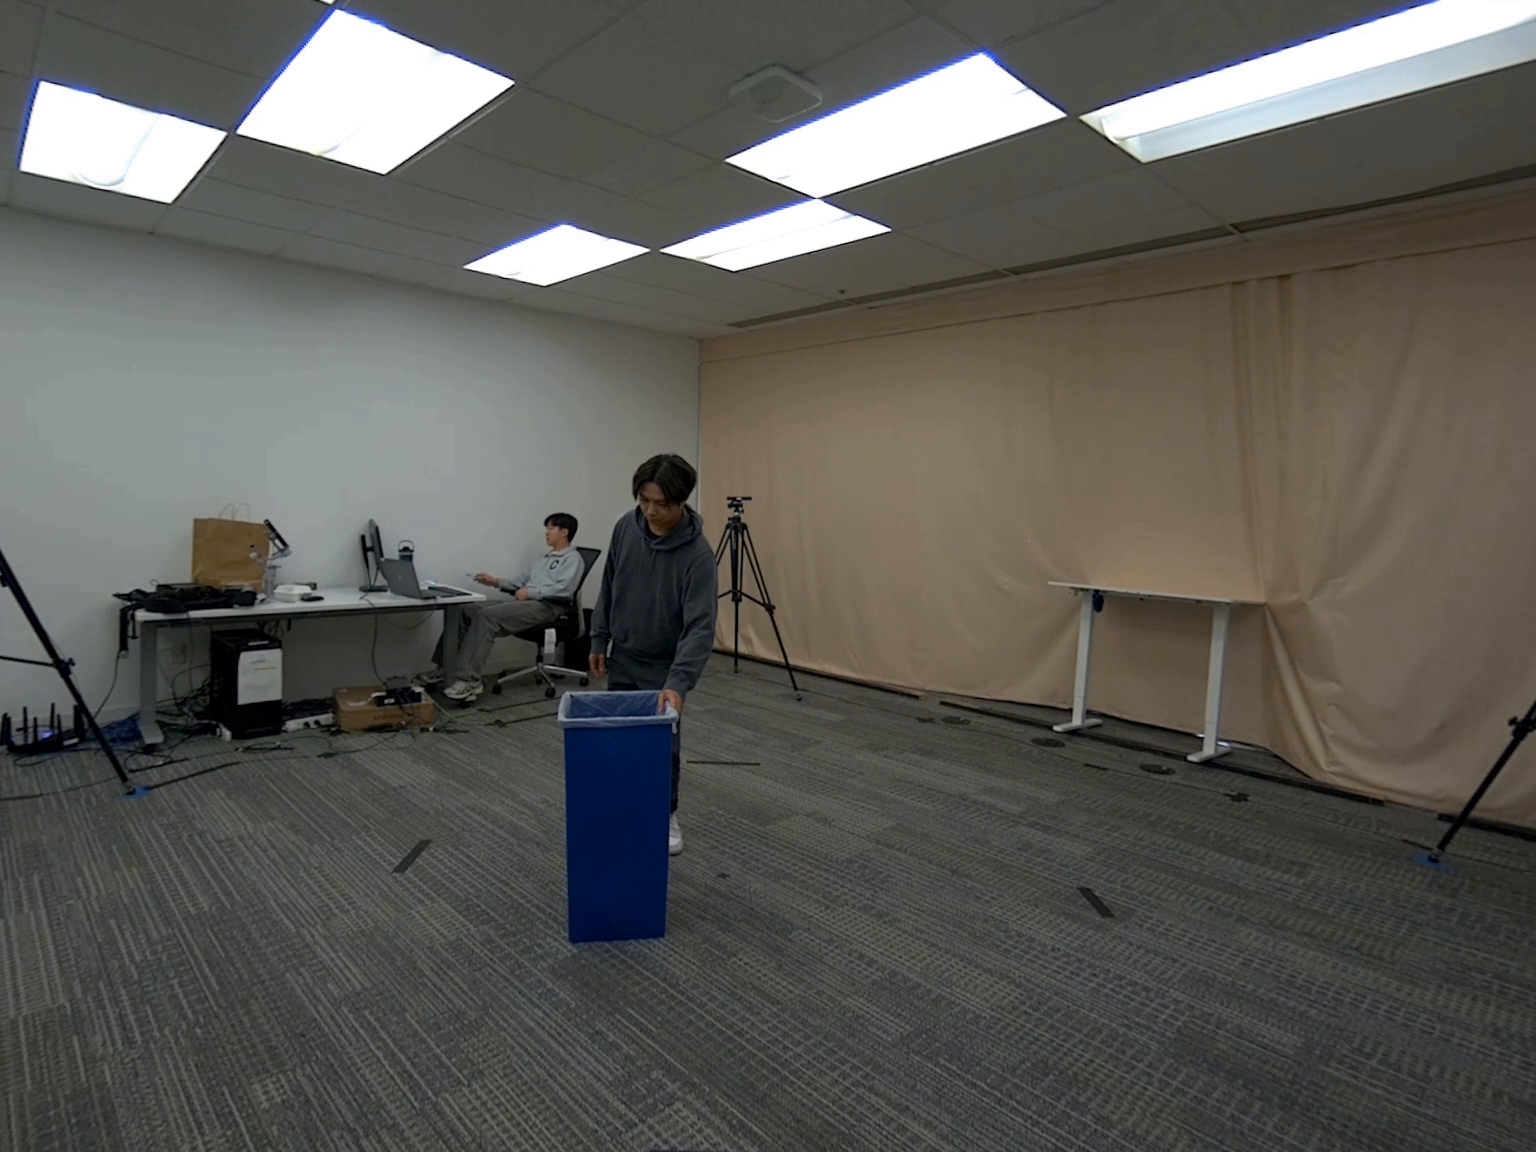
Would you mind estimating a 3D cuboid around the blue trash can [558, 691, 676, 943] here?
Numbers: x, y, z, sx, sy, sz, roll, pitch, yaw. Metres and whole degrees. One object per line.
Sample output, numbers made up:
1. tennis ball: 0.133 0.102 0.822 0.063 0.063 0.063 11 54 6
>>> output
1. blue trash can: -0.507 0.777 2.755 0.371 0.712 0.382 1 3 -10
